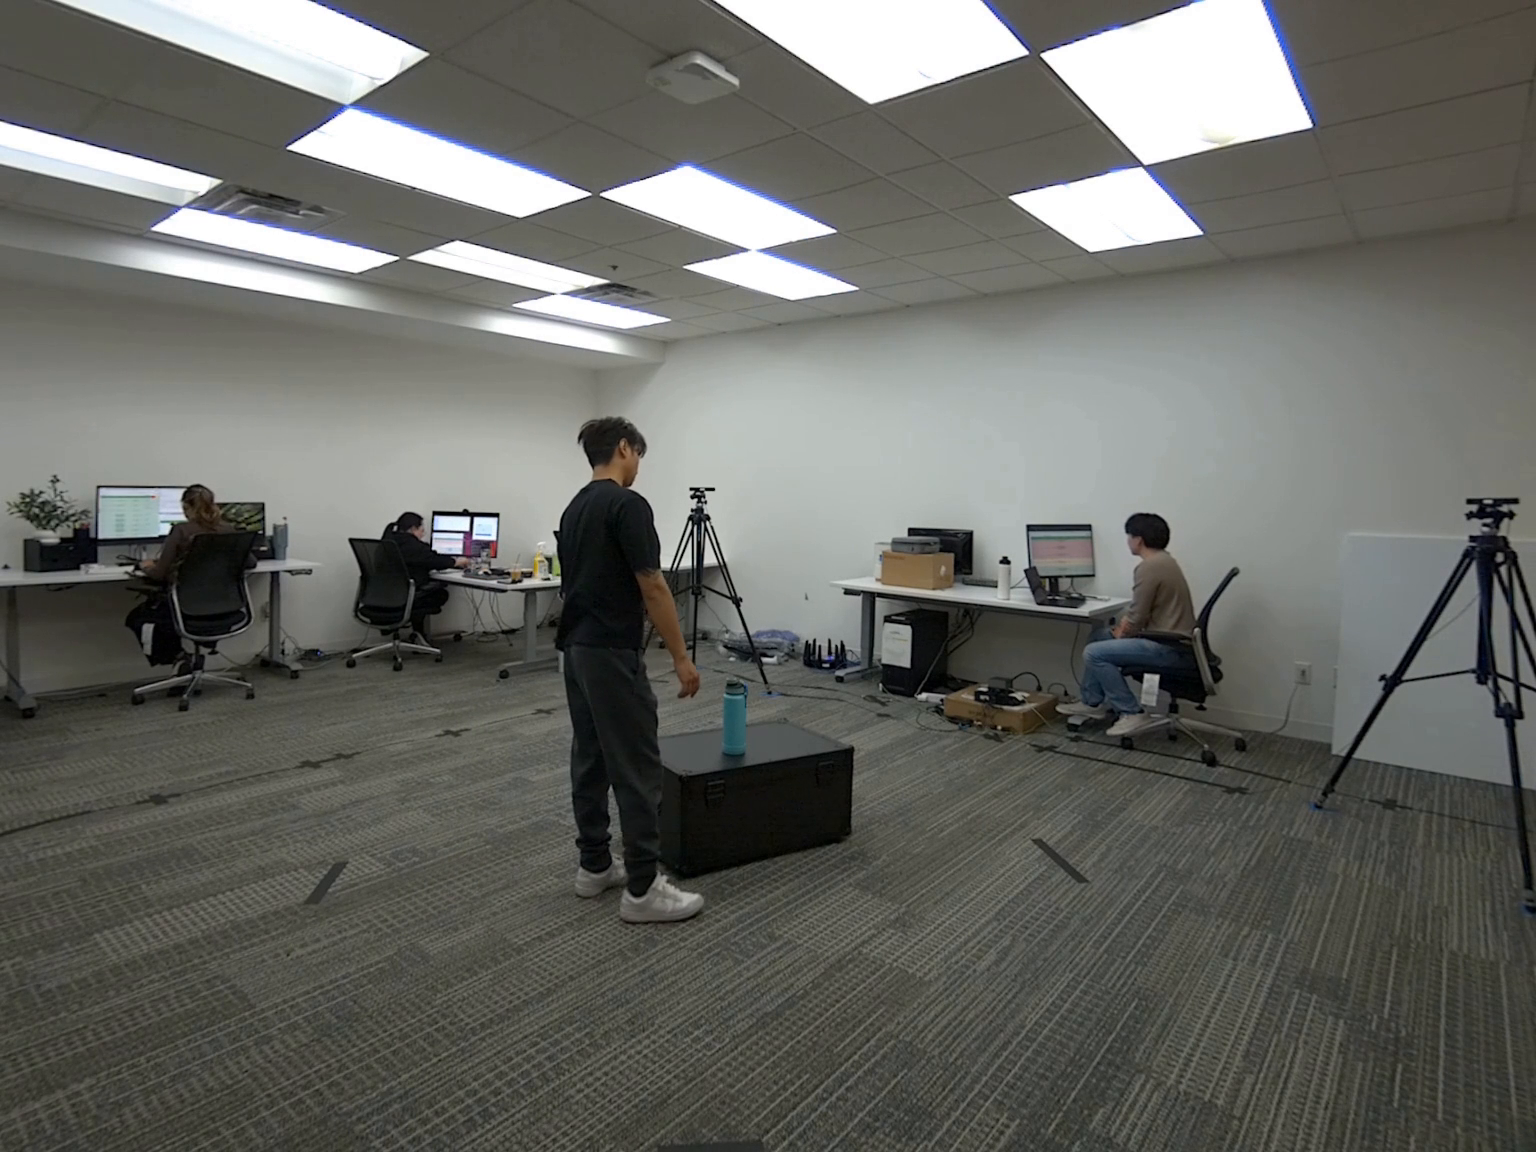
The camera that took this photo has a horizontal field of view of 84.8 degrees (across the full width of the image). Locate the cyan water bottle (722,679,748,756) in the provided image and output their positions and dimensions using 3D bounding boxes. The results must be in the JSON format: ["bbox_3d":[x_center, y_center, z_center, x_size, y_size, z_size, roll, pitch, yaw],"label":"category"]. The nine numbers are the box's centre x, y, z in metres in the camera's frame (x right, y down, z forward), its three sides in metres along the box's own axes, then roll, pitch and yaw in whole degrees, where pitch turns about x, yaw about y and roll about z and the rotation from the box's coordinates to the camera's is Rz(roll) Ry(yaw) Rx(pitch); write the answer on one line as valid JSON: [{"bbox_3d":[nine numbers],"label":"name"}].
[{"bbox_3d":[-0.137,0.536,3.291,0.092,0.282,0.093,2,3,-2],"label":"cyan water bottle"}]
